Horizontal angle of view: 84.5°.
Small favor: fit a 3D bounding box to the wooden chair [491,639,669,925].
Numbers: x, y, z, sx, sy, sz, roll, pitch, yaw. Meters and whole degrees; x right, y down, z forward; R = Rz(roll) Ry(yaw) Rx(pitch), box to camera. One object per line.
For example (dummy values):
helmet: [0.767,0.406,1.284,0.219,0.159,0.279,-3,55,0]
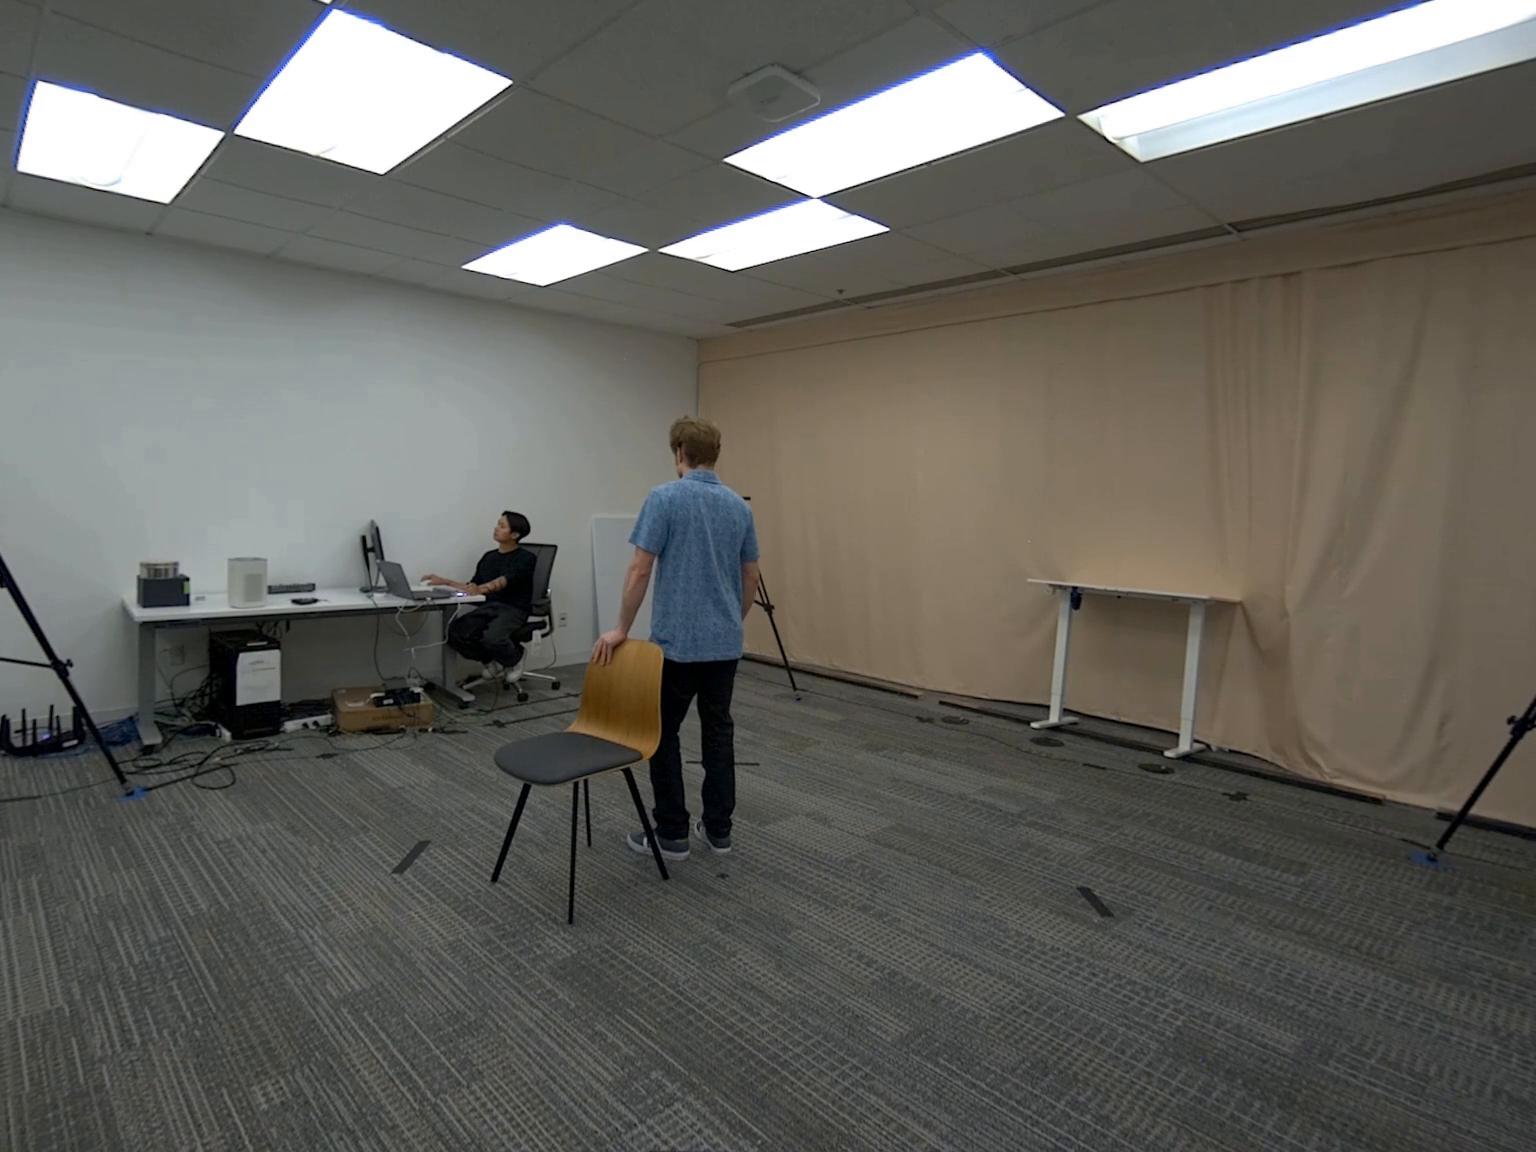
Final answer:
wooden chair: [-0.672,0.677,2.998,0.490,0.877,0.510,4,0,39]
